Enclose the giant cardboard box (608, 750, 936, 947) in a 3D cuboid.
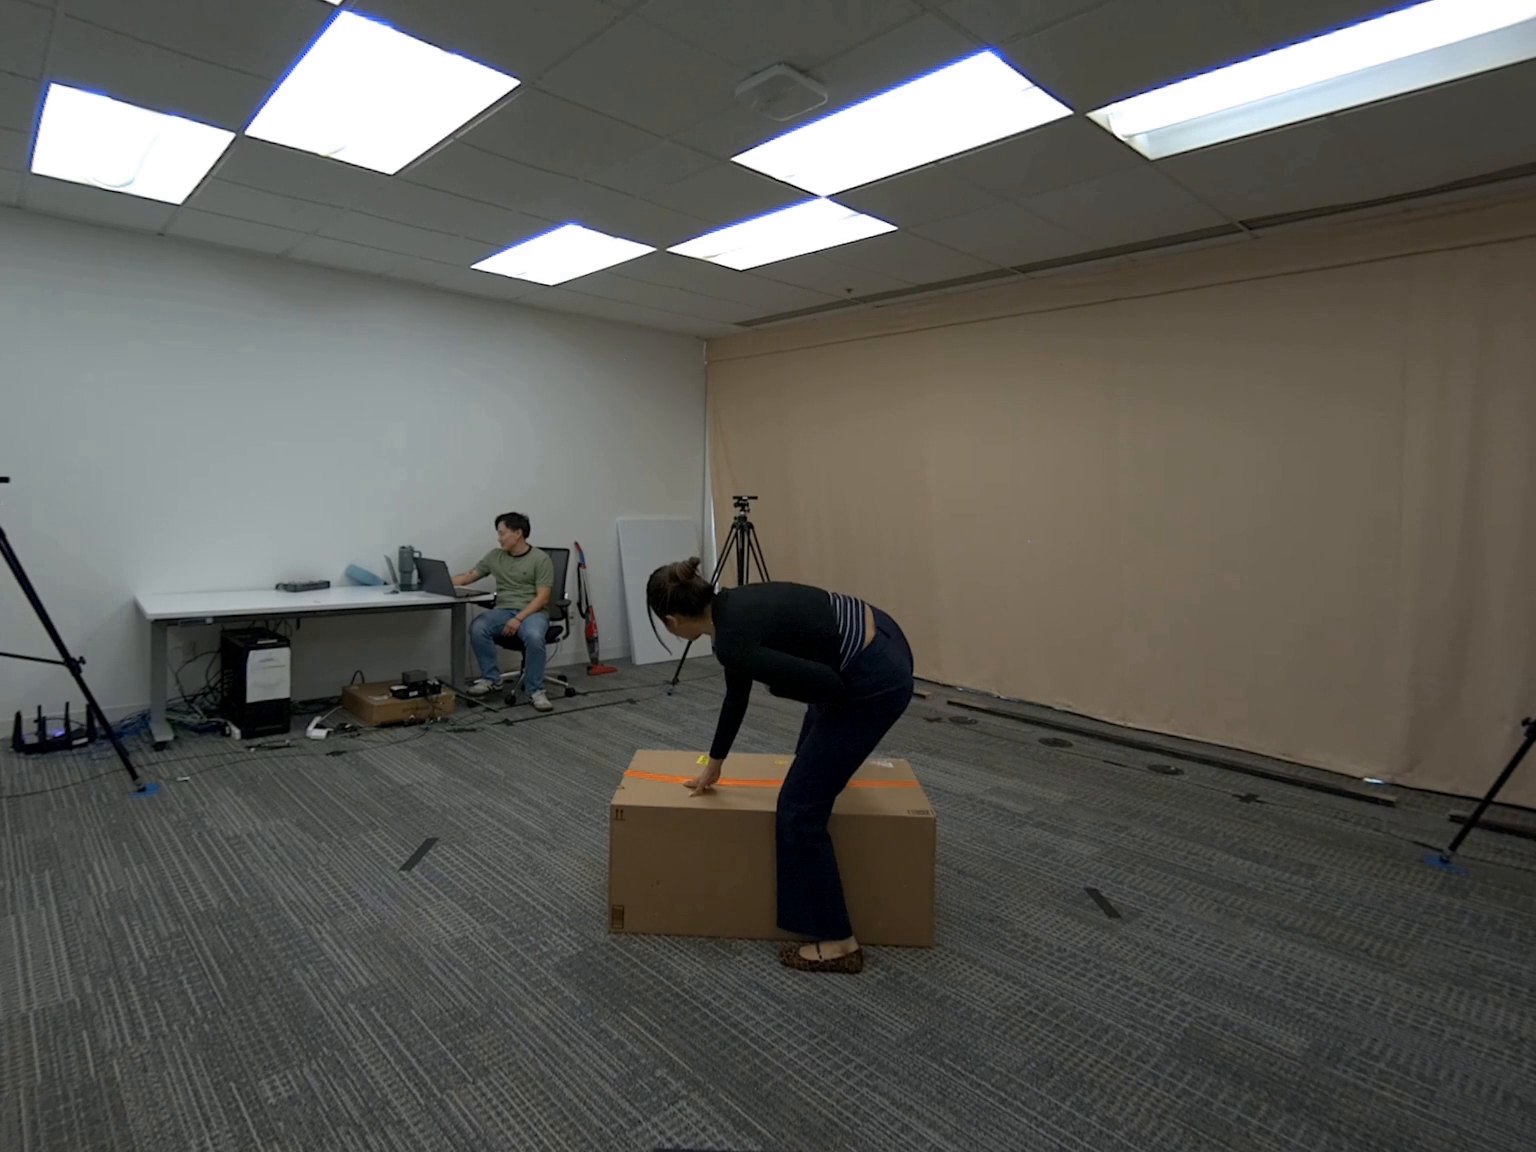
[{"bbox_3d":[0.003,0.914,2.915,1.027,0.425,0.578,1,4,2],"label":"giant cardboard box"}]
